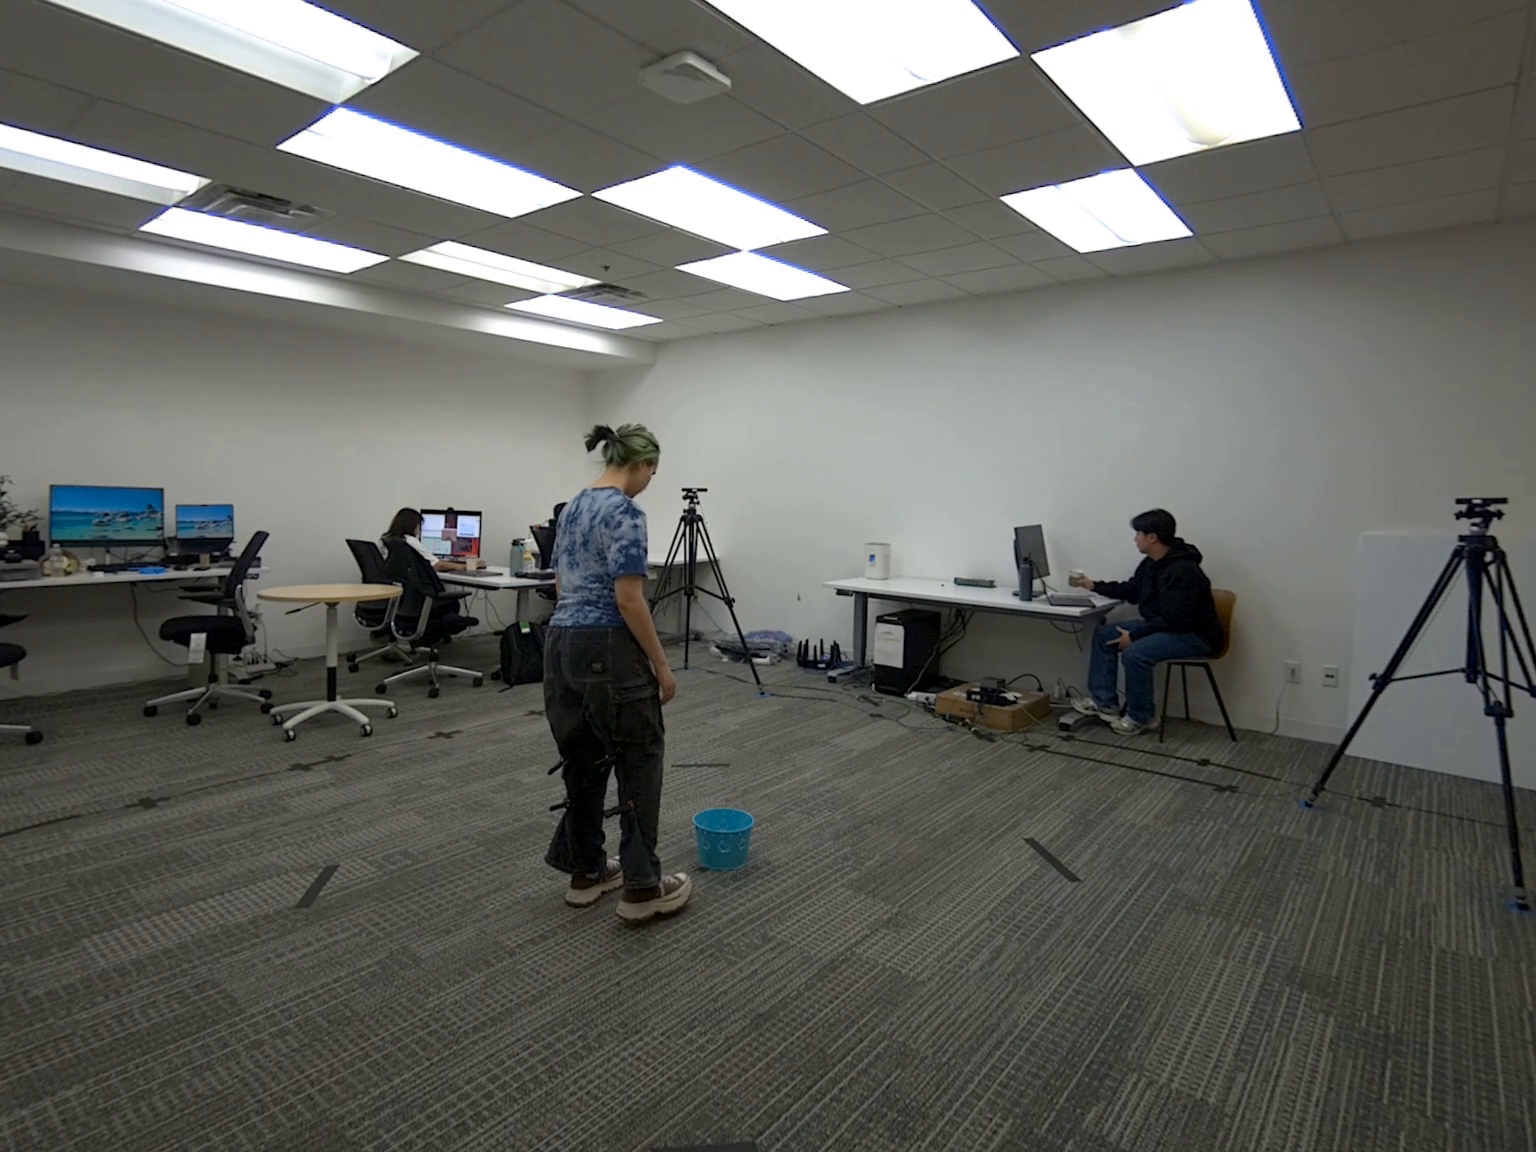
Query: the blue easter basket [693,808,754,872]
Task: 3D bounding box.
[{"bbox_3d":[-0.175,0.983,3.190,0.243,0.155,0.245,0,5,-2],"label":"blue easter basket"}]
